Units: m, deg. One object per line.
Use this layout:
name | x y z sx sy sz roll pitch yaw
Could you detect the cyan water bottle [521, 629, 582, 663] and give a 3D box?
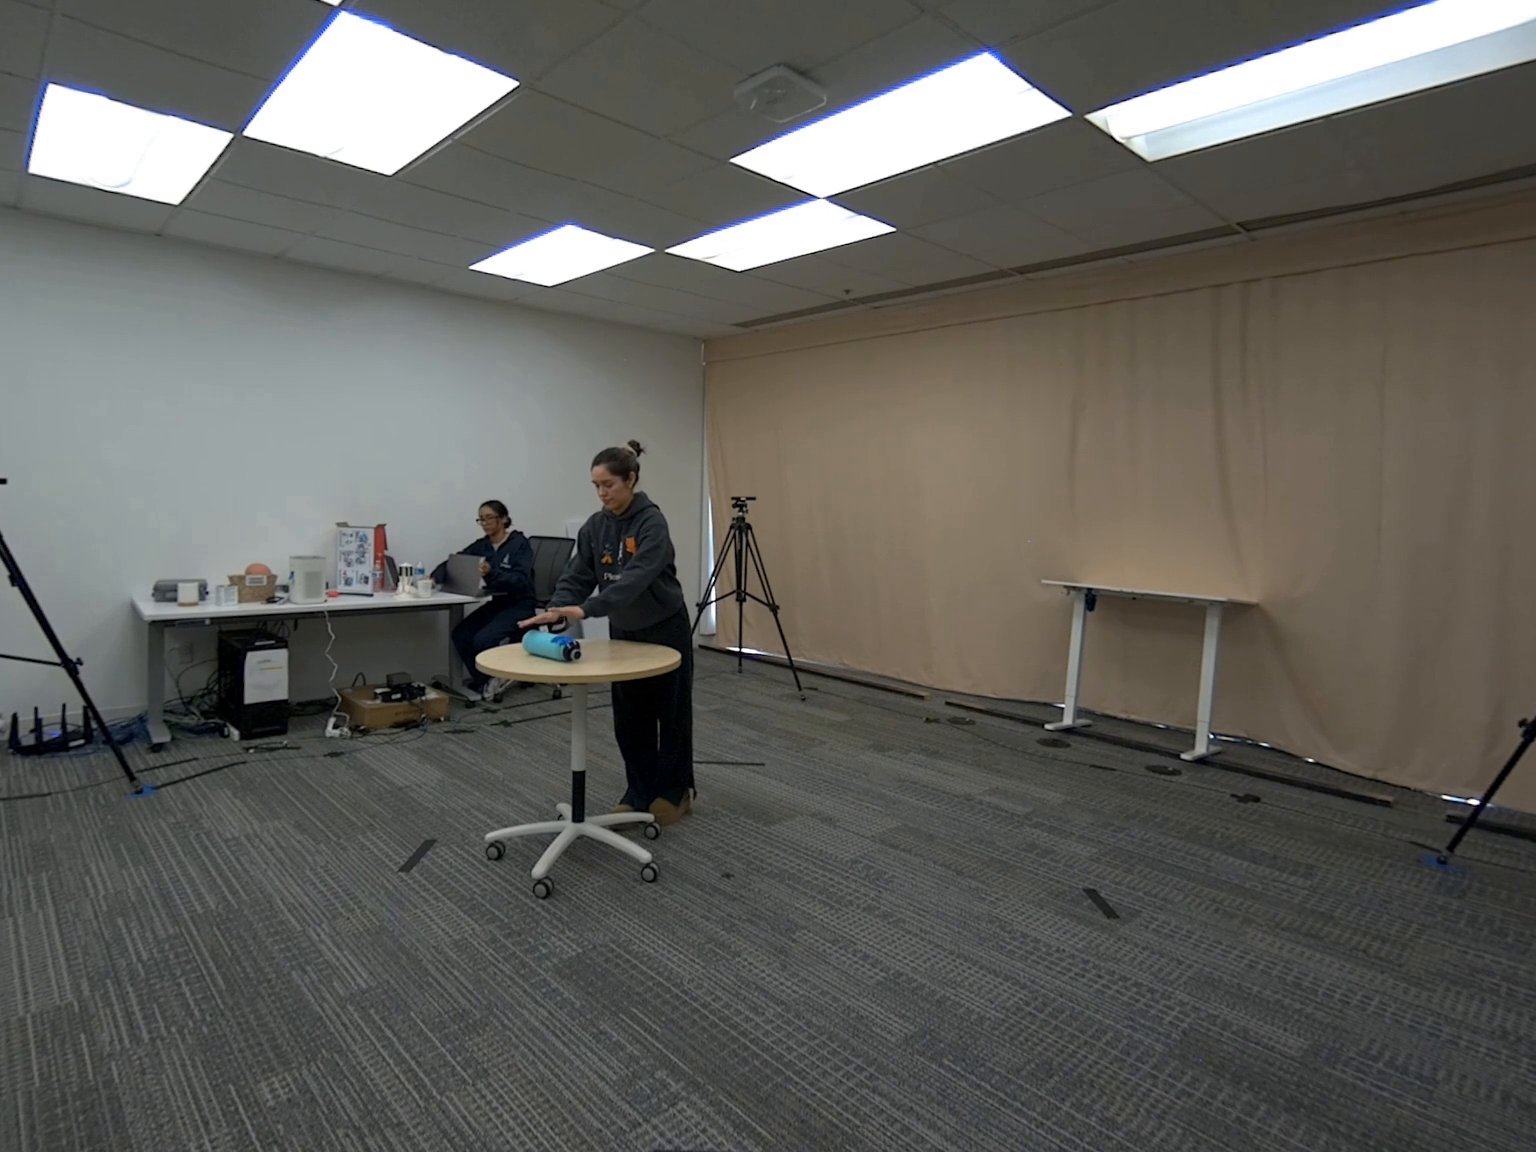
cyan water bottle | -0.807 0.260 3.130 0.290 0.092 0.090 6 7 40
